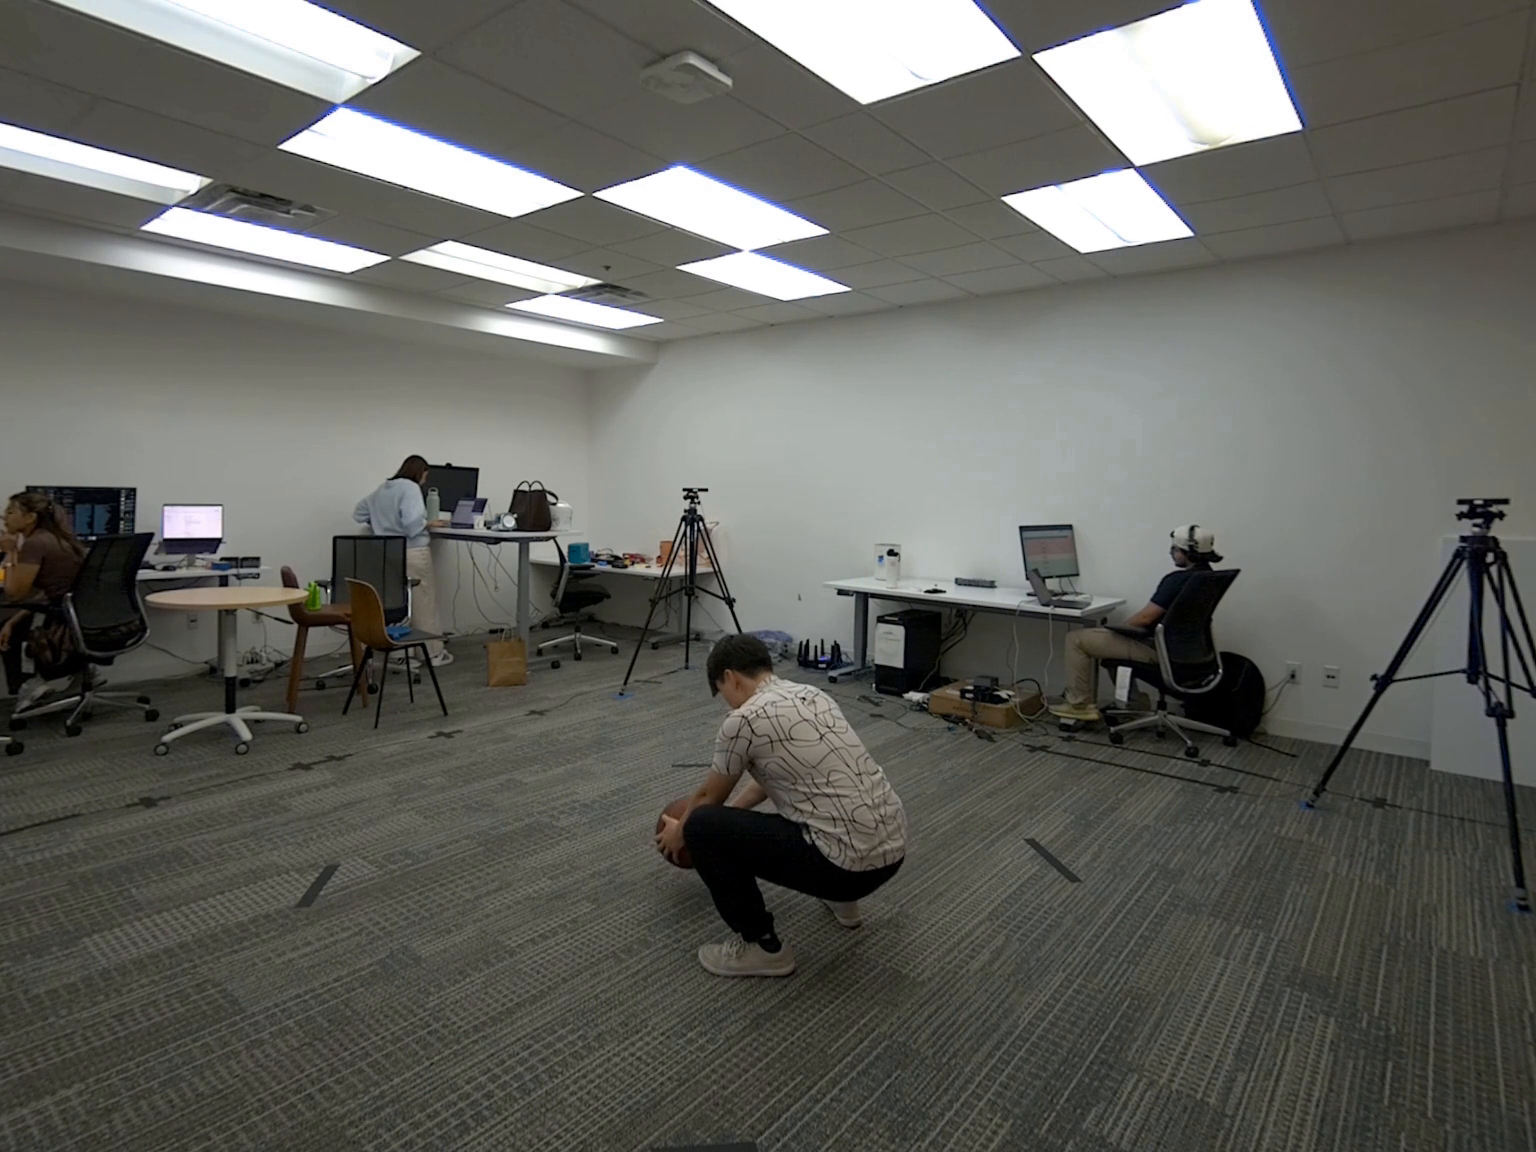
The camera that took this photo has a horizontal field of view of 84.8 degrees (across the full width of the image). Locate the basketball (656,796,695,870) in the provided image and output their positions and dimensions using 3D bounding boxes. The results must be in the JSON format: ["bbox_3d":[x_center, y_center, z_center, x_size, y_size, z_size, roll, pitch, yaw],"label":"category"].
[{"bbox_3d":[-0.276,0.878,2.964,0.235,0.235,0.237,1,4,-2],"label":"basketball"}]
